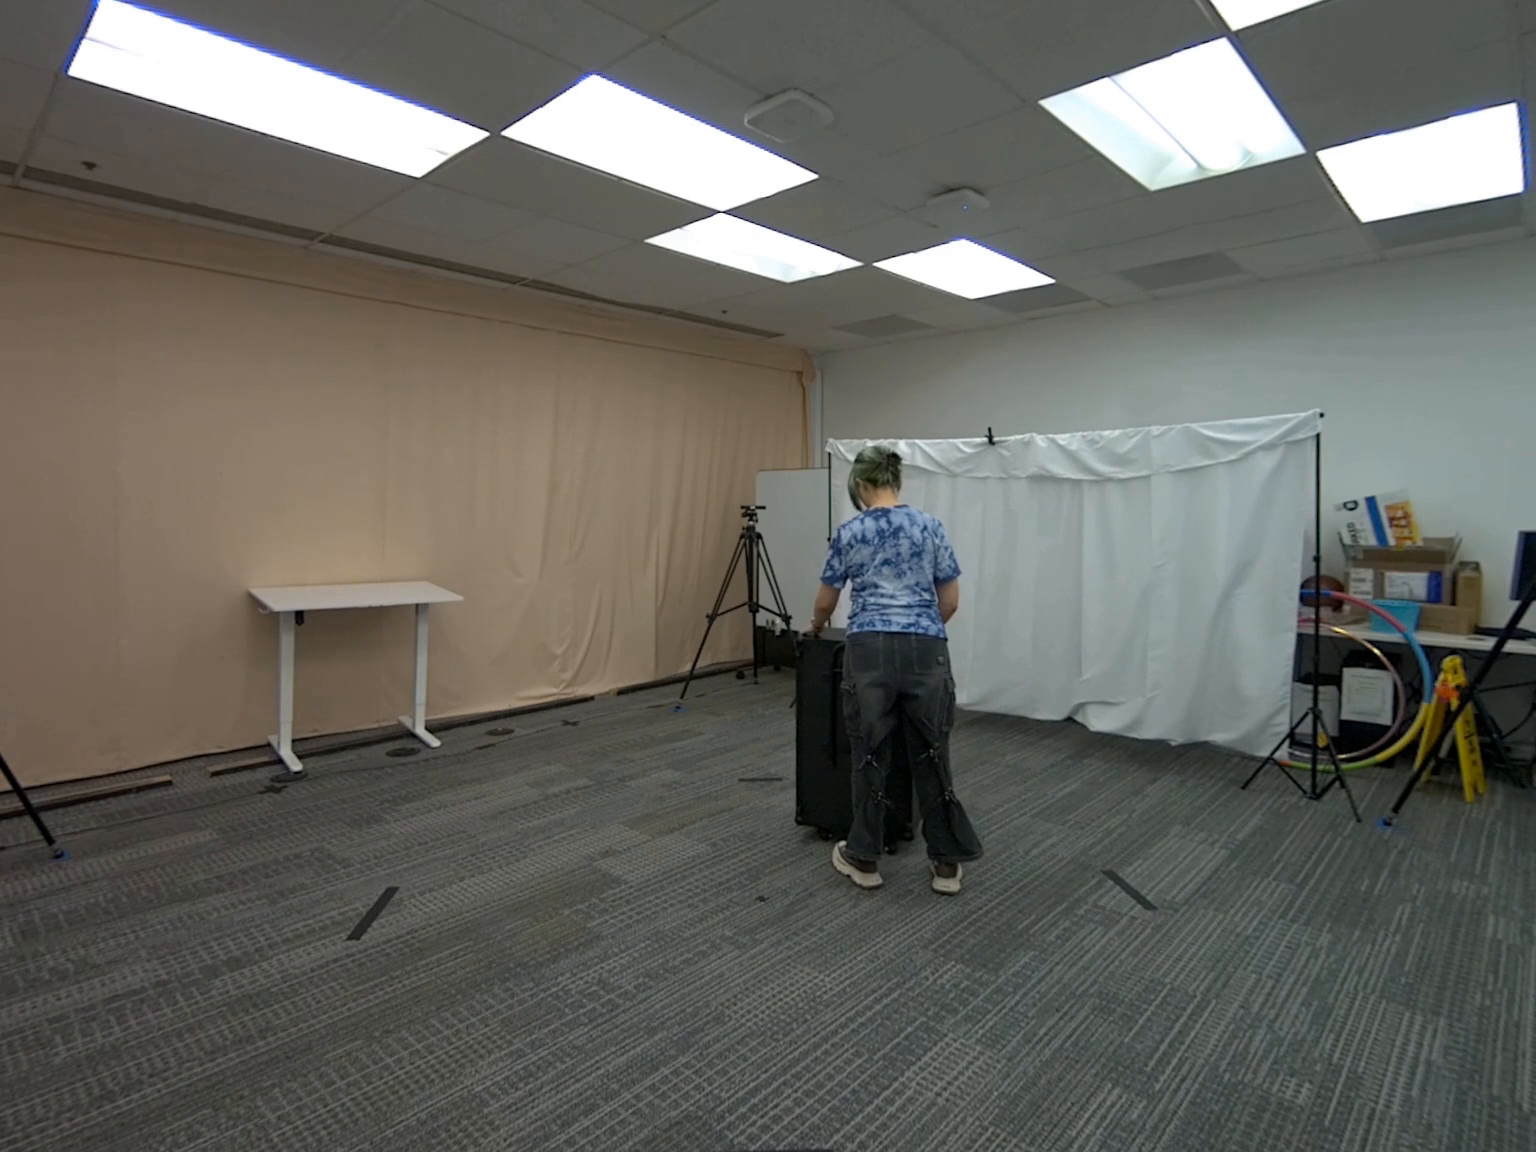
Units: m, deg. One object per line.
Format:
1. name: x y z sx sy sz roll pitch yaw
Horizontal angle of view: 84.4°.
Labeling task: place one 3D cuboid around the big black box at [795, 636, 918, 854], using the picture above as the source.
1. big black box: 0.405 0.676 3.535 0.534 0.859 0.387 2 4 24
